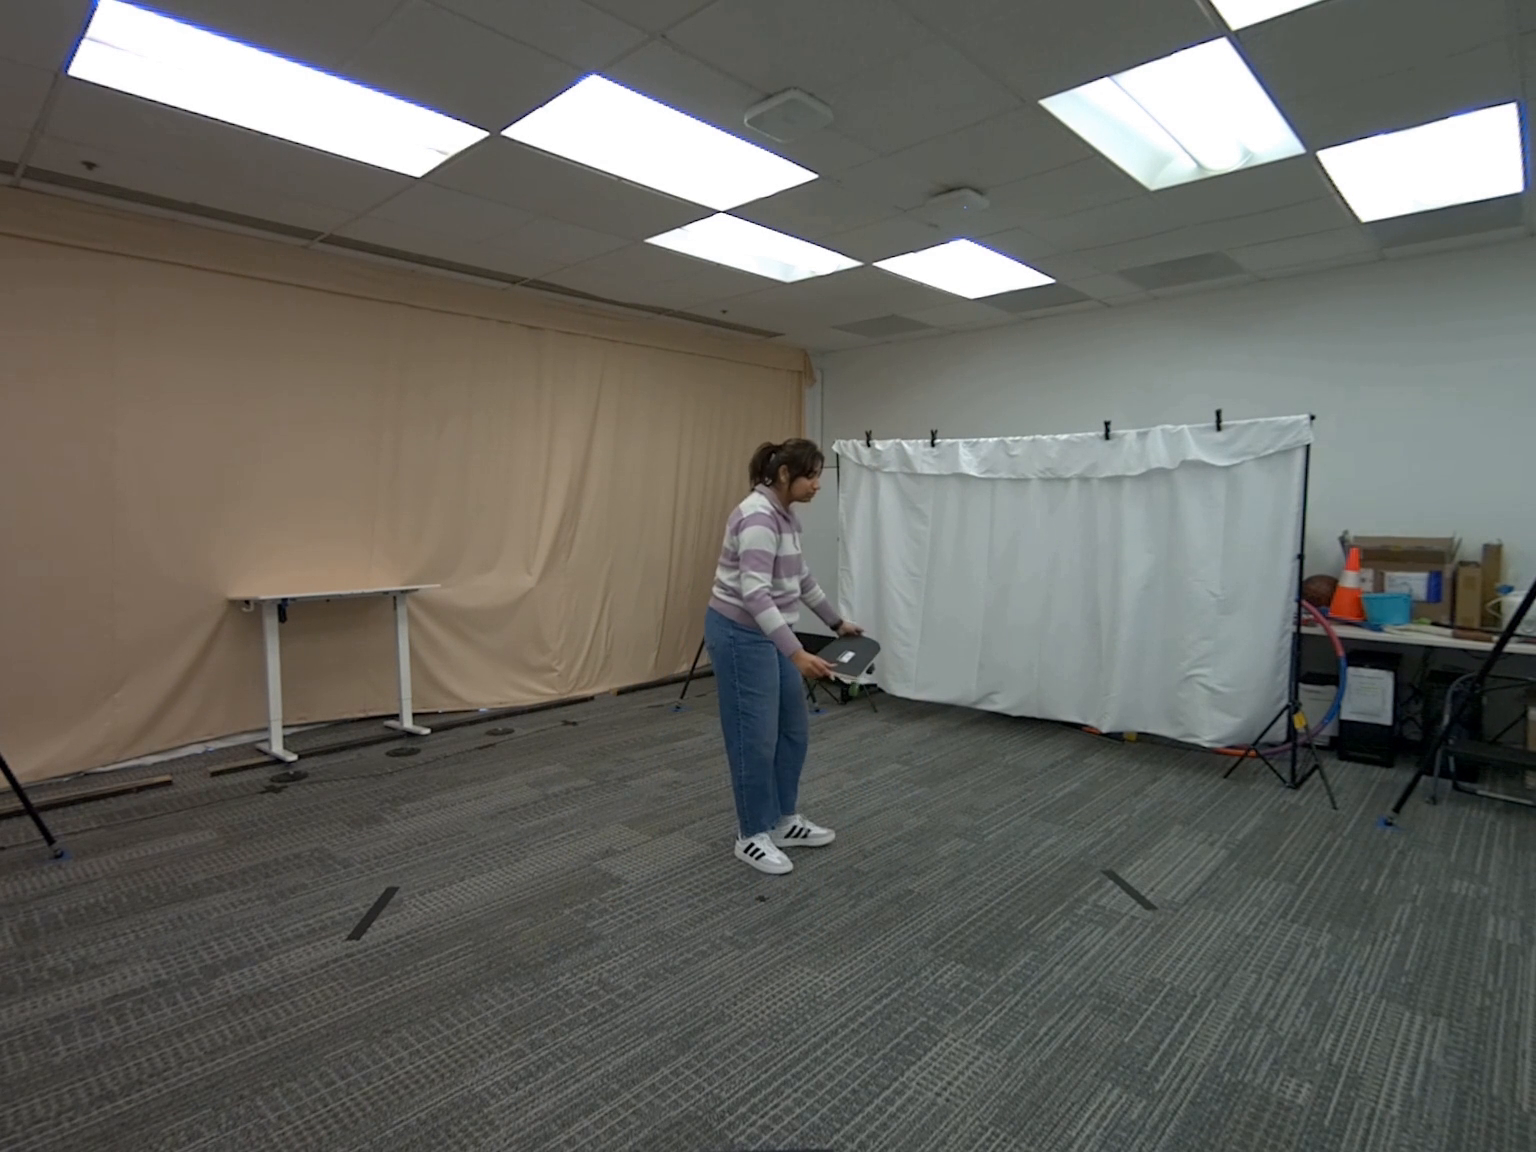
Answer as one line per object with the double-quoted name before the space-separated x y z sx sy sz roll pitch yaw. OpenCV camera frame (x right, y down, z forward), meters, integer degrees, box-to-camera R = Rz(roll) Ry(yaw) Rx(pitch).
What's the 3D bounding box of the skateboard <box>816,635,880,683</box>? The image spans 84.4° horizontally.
"skateboard" 0.305 0.340 3.234 0.197 0.110 0.772 16 10 15
